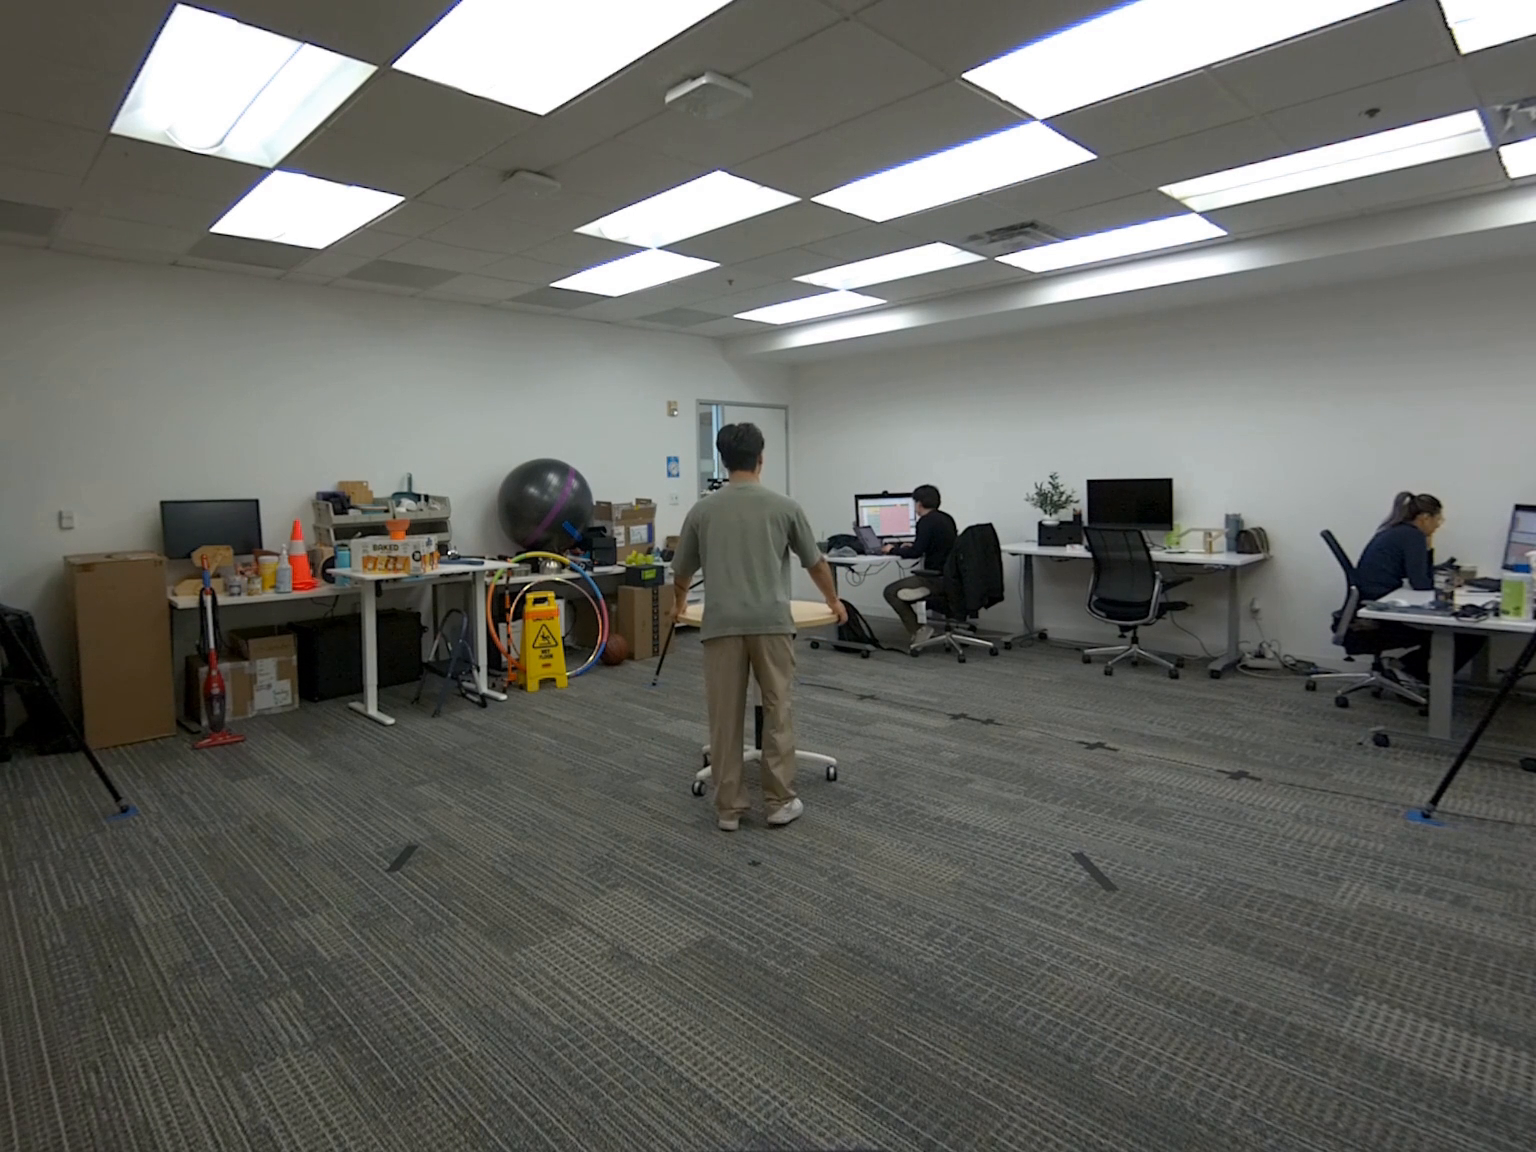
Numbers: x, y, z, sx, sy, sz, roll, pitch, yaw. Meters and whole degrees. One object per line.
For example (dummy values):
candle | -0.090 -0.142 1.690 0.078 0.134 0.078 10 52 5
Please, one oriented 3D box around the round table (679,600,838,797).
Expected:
round table | -0.022 0.551 3.967 0.784 0.784 0.788 -2 4 -2
